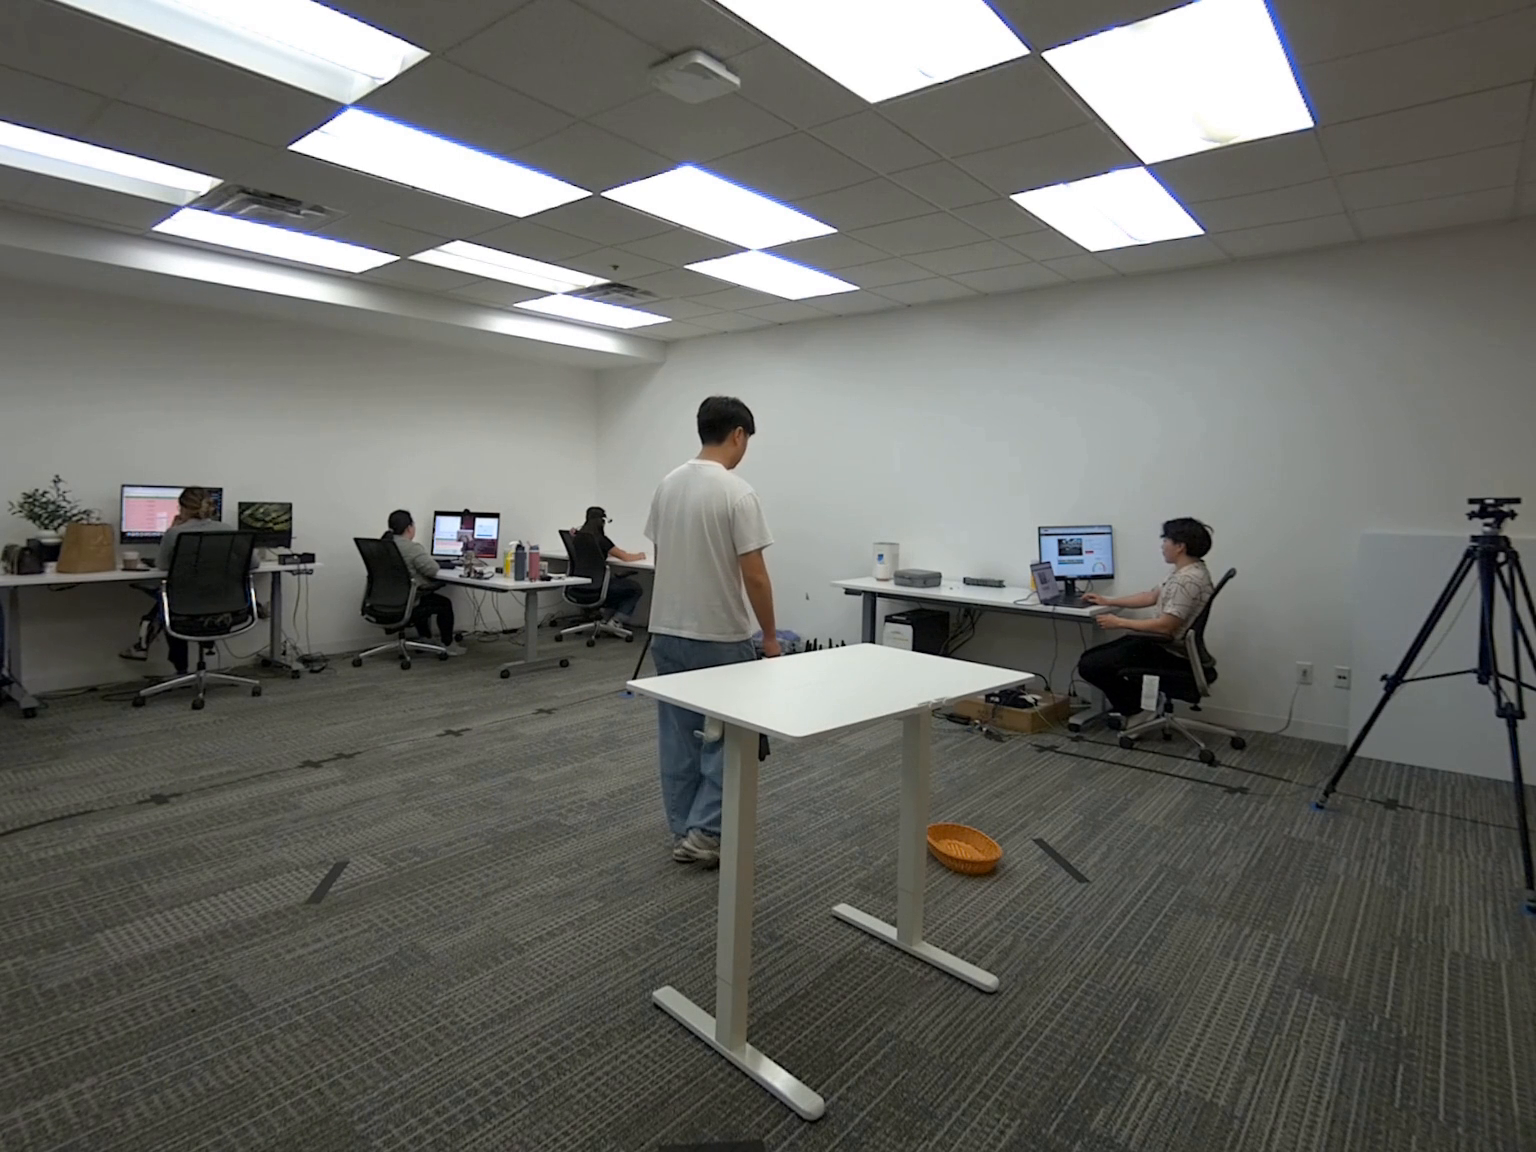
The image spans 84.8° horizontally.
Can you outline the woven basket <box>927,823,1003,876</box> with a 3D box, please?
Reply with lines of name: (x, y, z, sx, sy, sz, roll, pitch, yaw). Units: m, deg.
woven basket: (0.726, 1.039, 3.244, 0.249, 0.073, 0.357, 0, 6, -13)
